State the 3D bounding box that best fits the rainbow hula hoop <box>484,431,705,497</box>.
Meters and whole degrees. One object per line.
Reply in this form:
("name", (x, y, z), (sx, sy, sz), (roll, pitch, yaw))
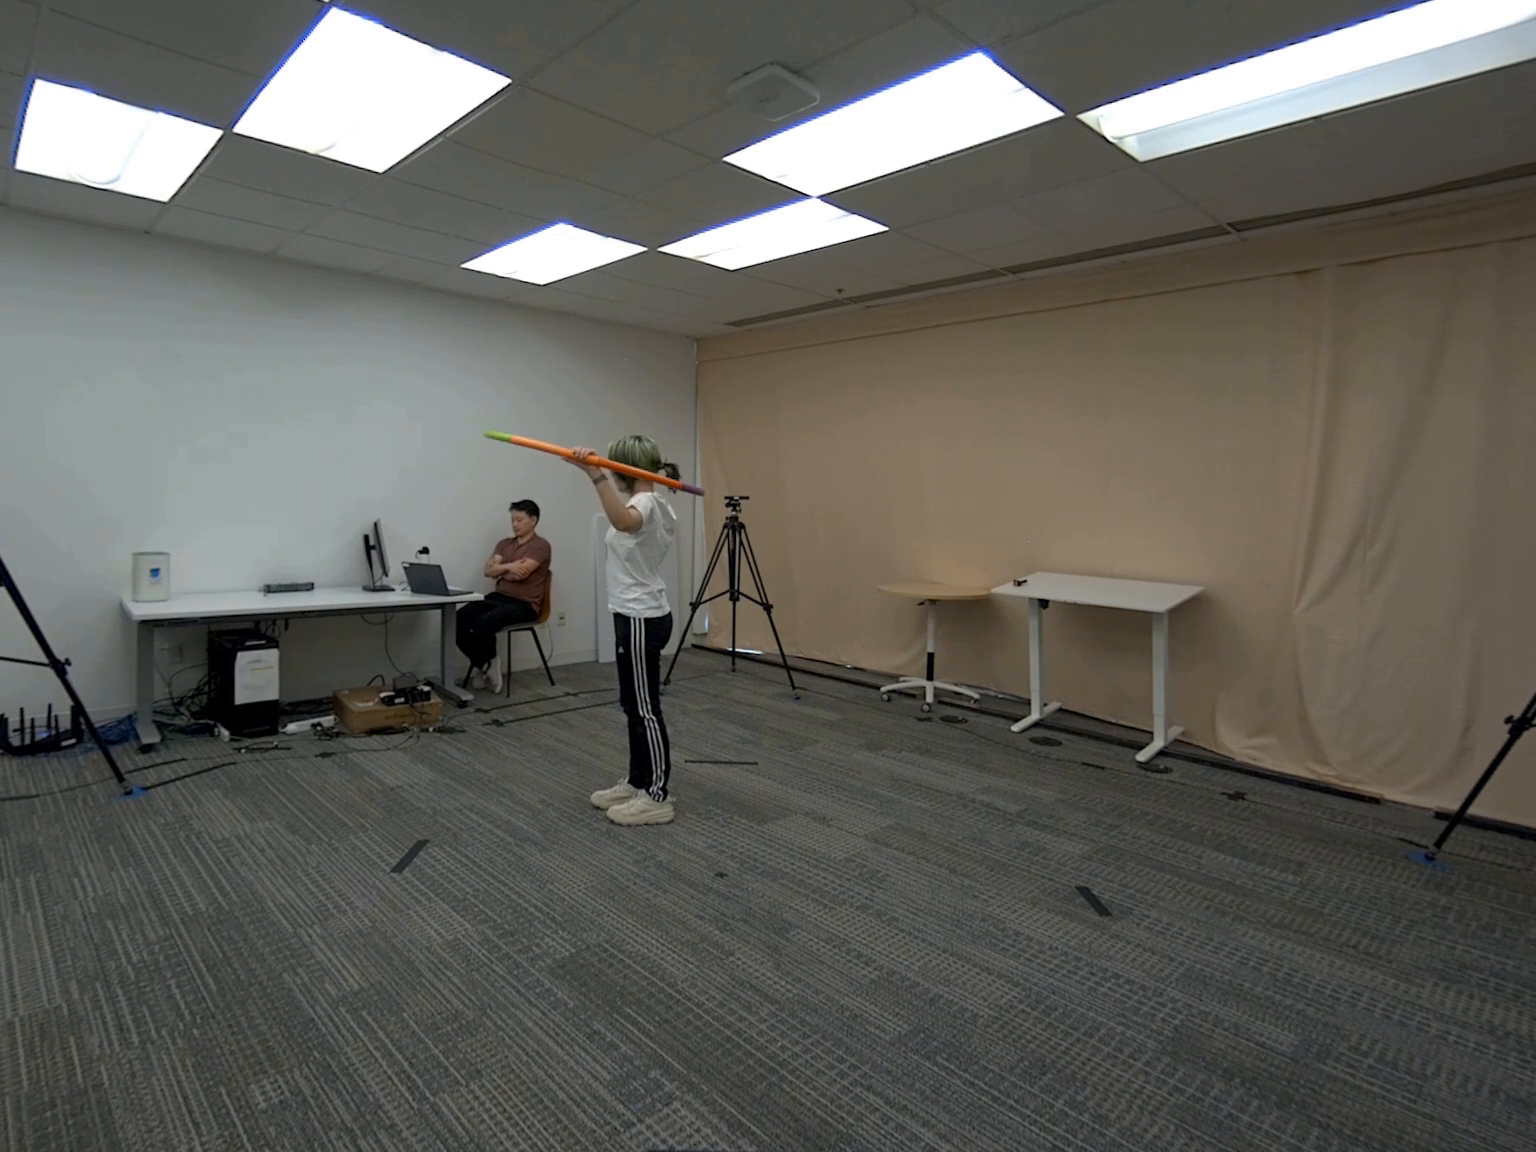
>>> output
("rainbow hula hoop", (-0.741, -0.484, 3.659), (0.984, 0.051, 0.989), (15, 5, -2))
